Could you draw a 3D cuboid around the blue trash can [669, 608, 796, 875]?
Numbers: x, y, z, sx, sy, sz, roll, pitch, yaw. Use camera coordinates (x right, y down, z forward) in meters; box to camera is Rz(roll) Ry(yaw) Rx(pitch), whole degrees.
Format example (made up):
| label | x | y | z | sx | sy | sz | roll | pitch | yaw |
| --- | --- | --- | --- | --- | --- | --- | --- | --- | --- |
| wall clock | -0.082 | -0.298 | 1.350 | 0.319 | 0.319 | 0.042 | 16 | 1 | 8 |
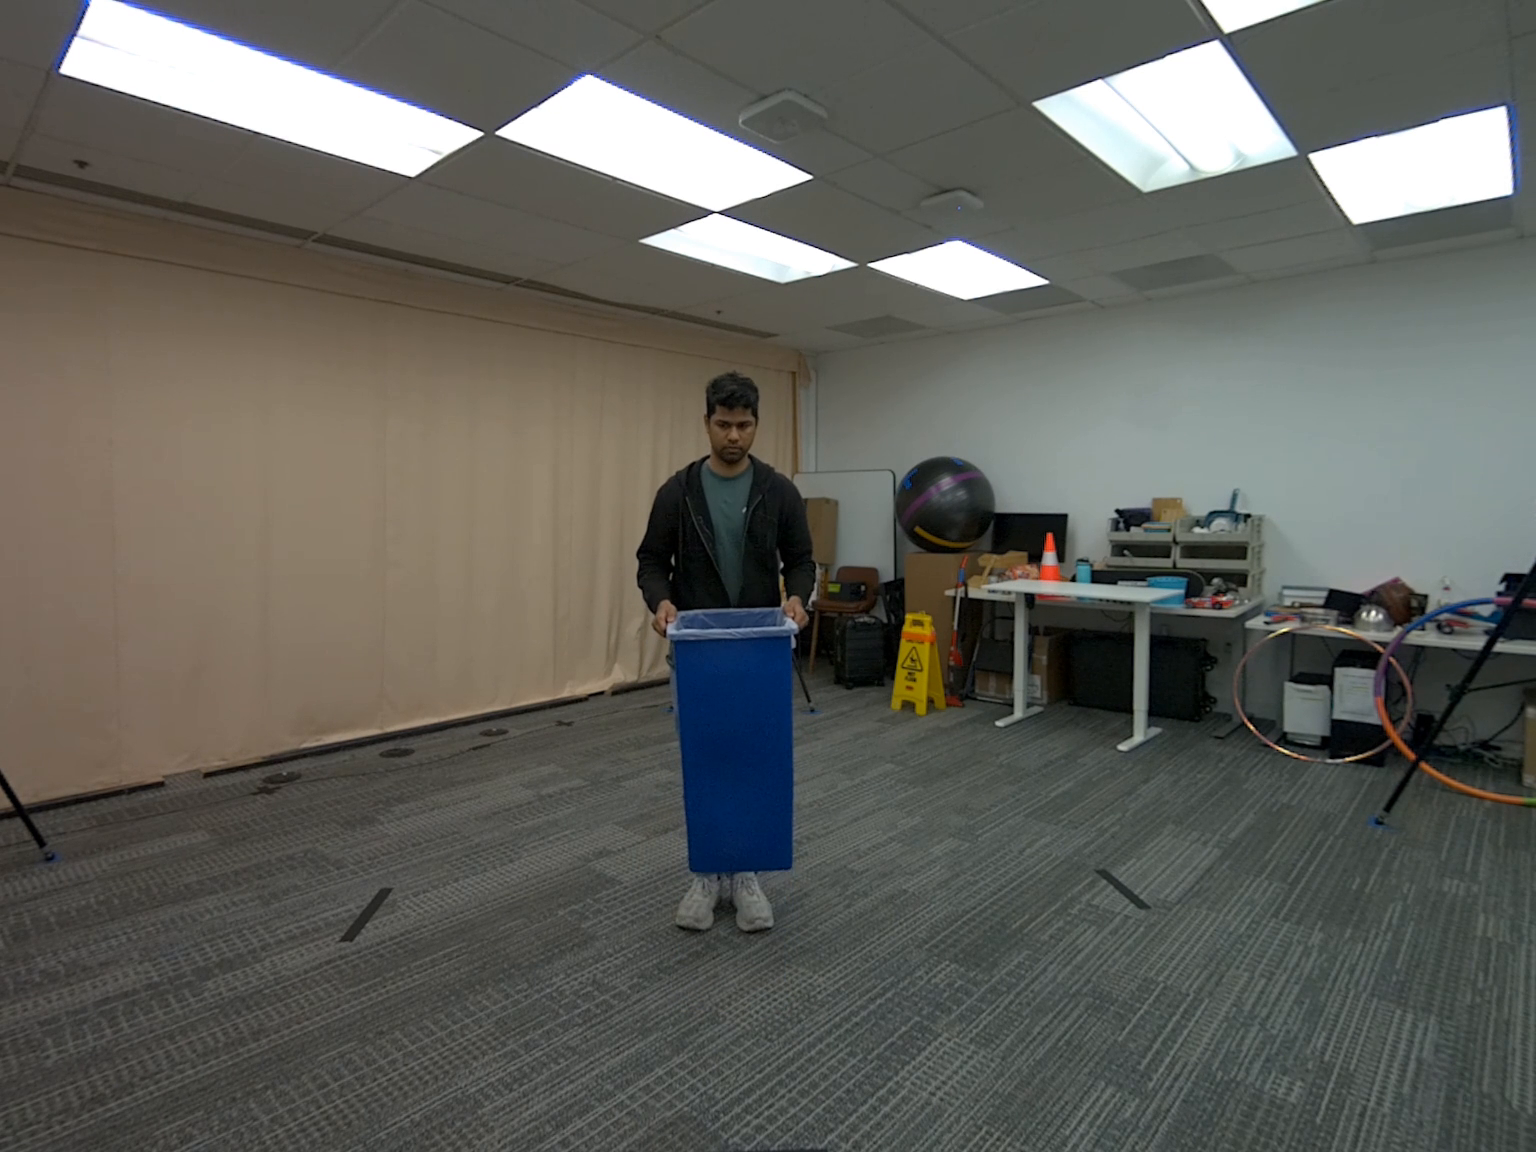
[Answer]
| label | x | y | z | sx | sy | sz | roll | pitch | yaw |
| --- | --- | --- | --- | --- | --- | --- | --- | --- | --- |
| blue trash can | -0.103 | 0.490 | 2.540 | 0.374 | 0.711 | 0.379 | -1 | 5 | -2 |
